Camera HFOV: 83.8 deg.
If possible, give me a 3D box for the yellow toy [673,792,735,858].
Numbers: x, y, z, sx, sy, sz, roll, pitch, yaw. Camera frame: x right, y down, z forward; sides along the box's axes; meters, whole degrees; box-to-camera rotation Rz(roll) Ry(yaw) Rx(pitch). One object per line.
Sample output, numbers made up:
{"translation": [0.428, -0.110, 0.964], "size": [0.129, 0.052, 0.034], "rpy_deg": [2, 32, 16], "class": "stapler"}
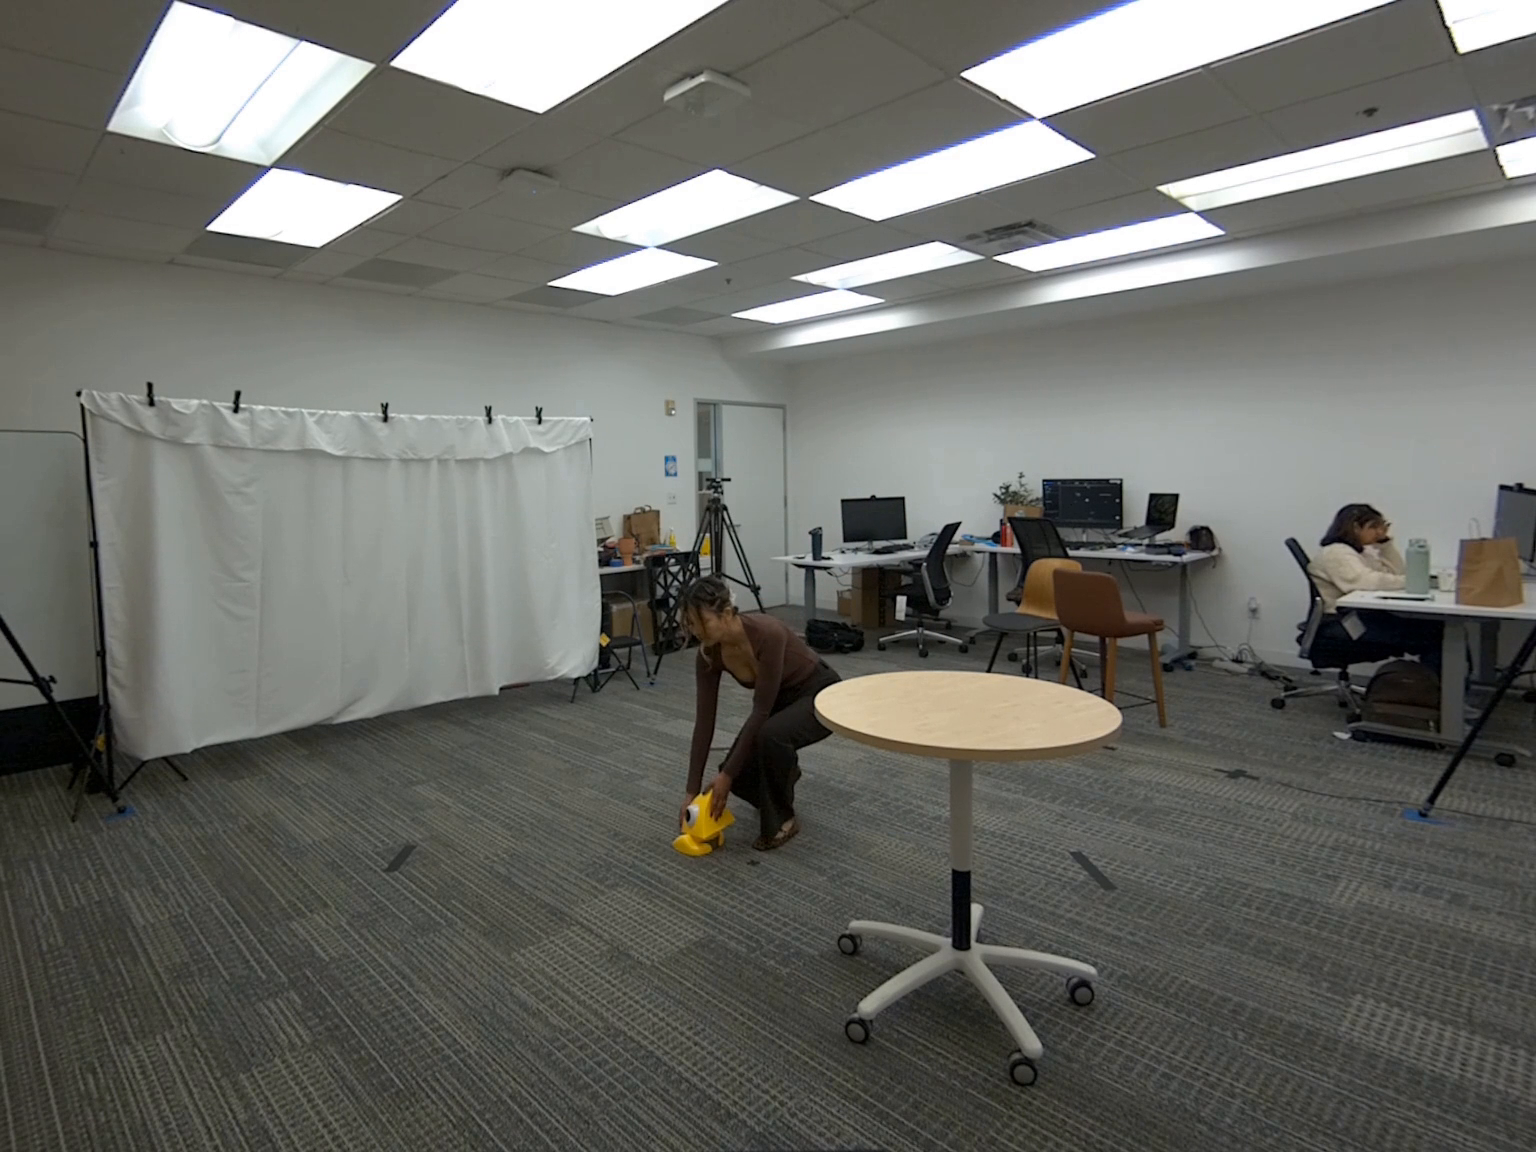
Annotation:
{"translation": [-0.251, 0.907, 3.270], "size": [0.198, 0.230, 0.200], "rpy_deg": [2, 4, 34], "class": "yellow toy"}
